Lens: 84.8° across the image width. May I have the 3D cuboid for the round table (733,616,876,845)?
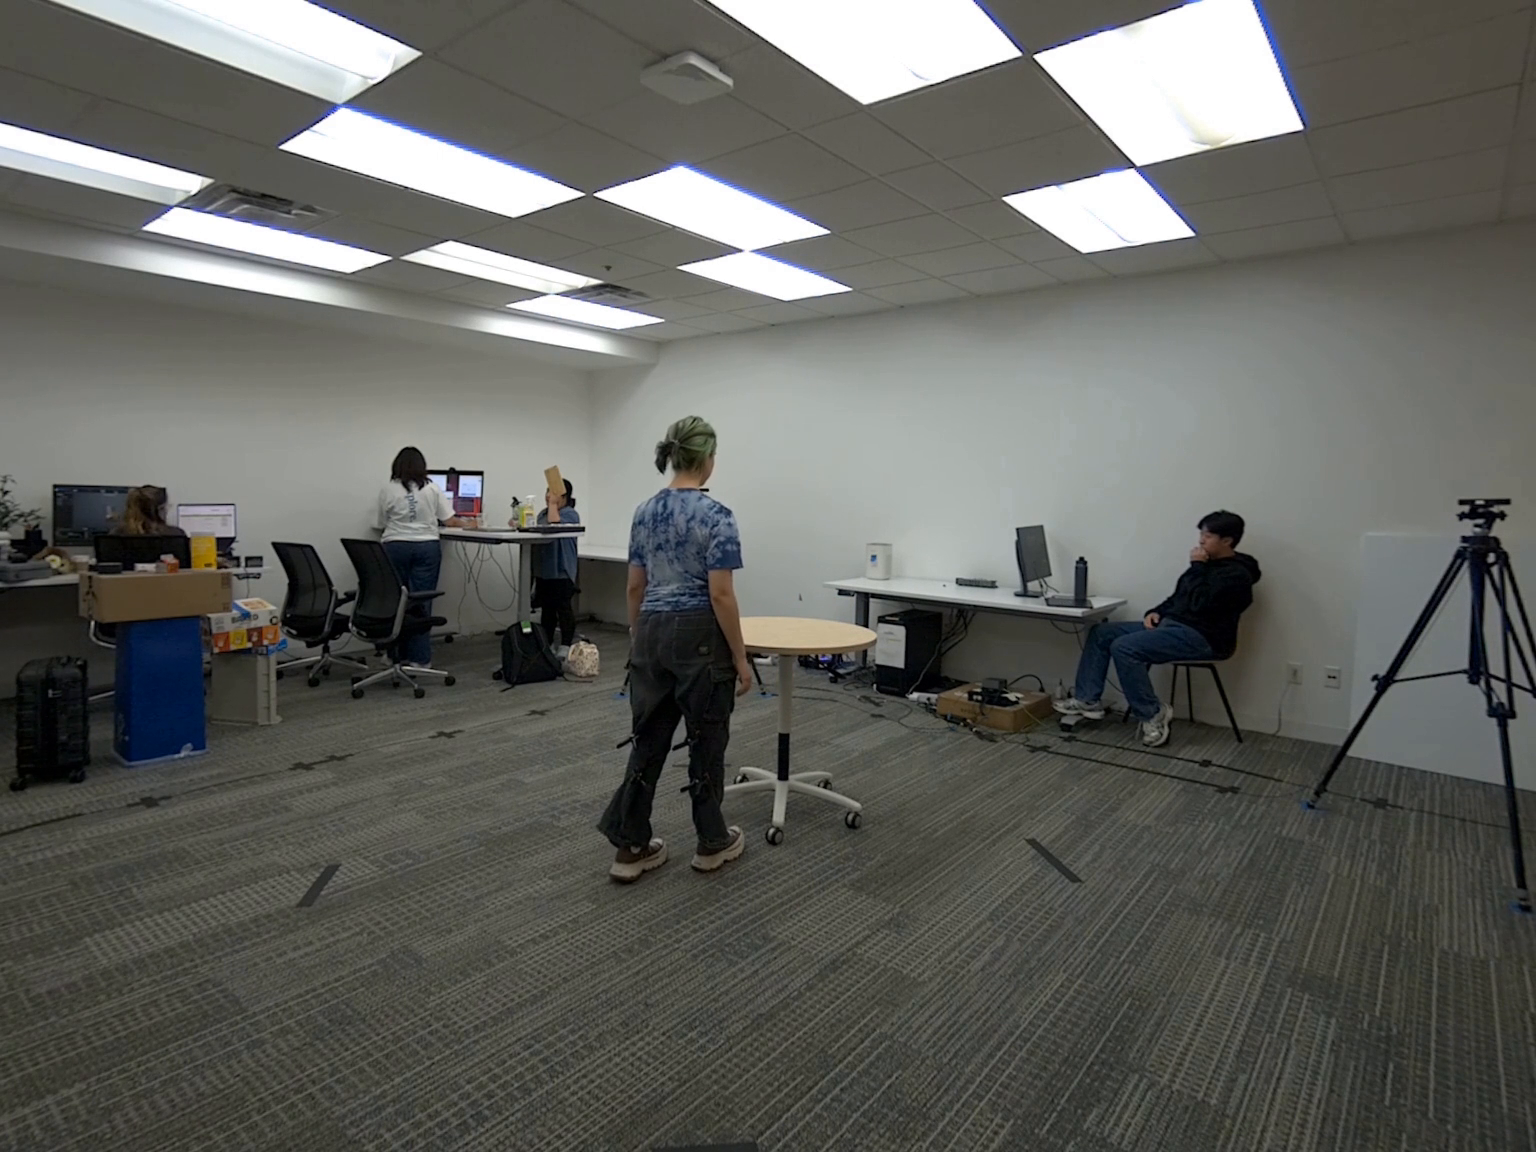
[{"bbox_3d":[0.063,0.630,3.679,0.763,0.791,0.768,2,4,-2],"label":"round table"}]
